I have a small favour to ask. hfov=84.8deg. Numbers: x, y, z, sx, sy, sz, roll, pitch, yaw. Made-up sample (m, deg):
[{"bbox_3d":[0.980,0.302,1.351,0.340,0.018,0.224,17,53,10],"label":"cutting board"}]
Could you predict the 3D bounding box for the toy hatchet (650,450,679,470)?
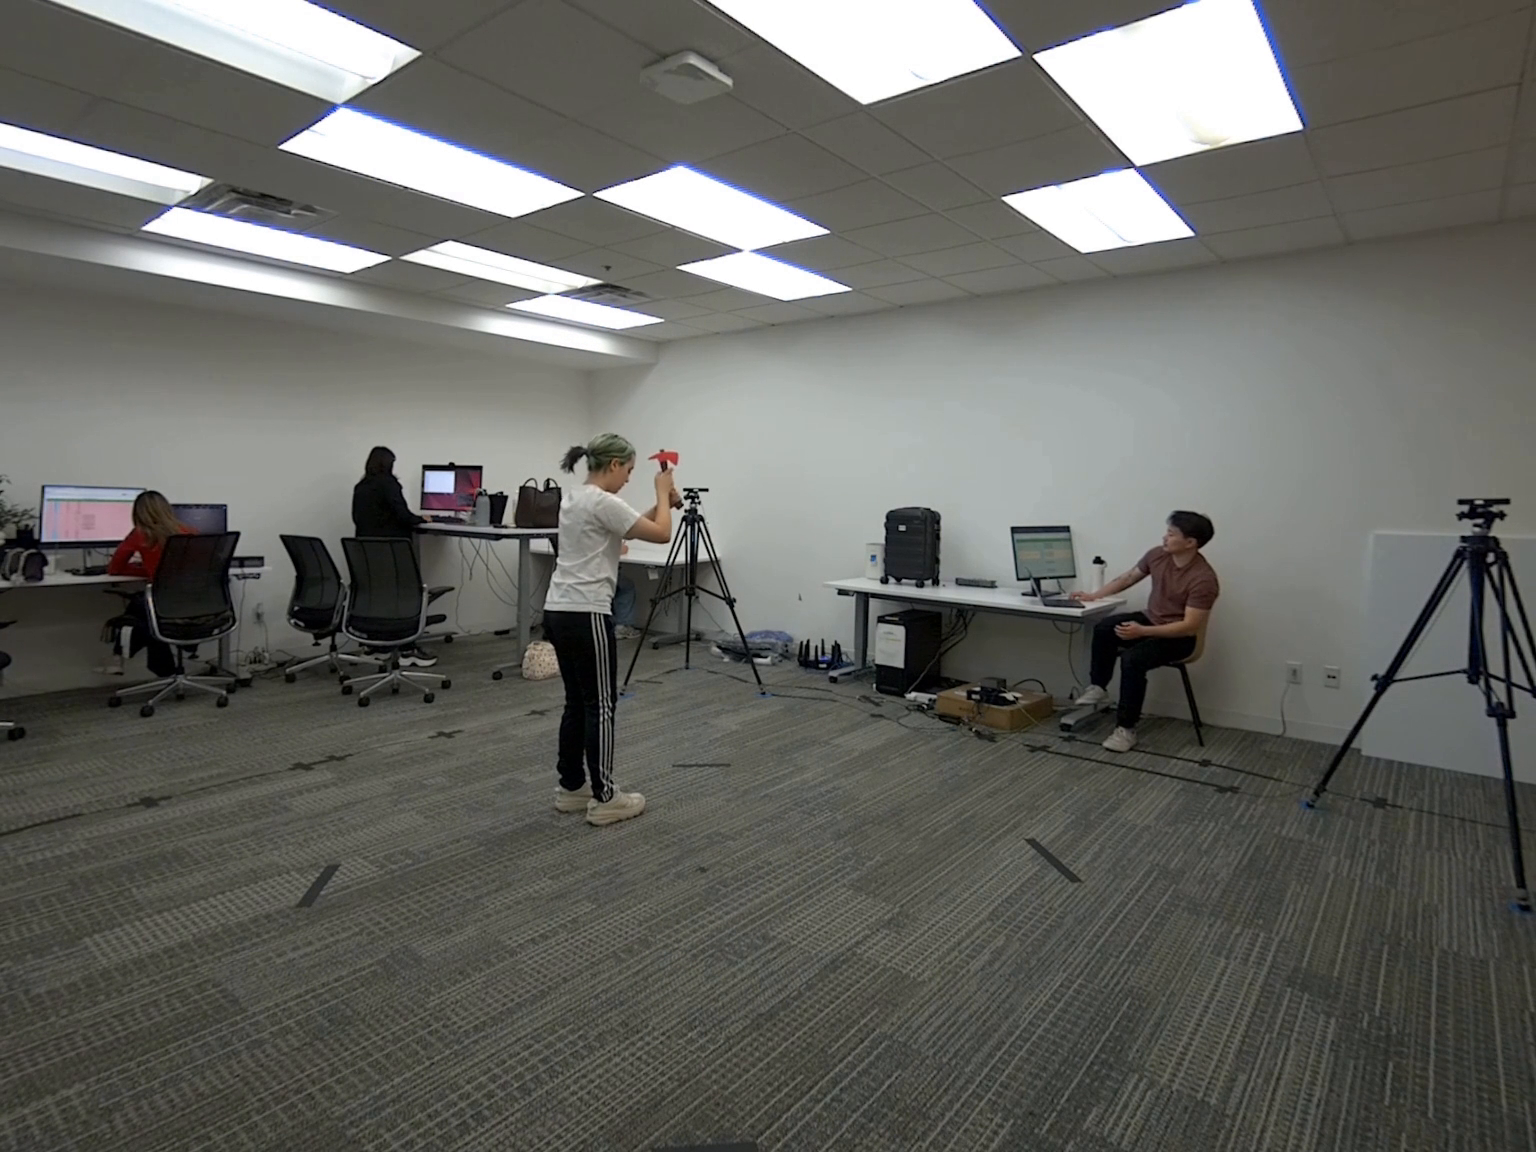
[{"bbox_3d":[-0.436,-0.435,3.753,0.130,0.267,0.030,-29,7,-9],"label":"toy hatchet"}]
